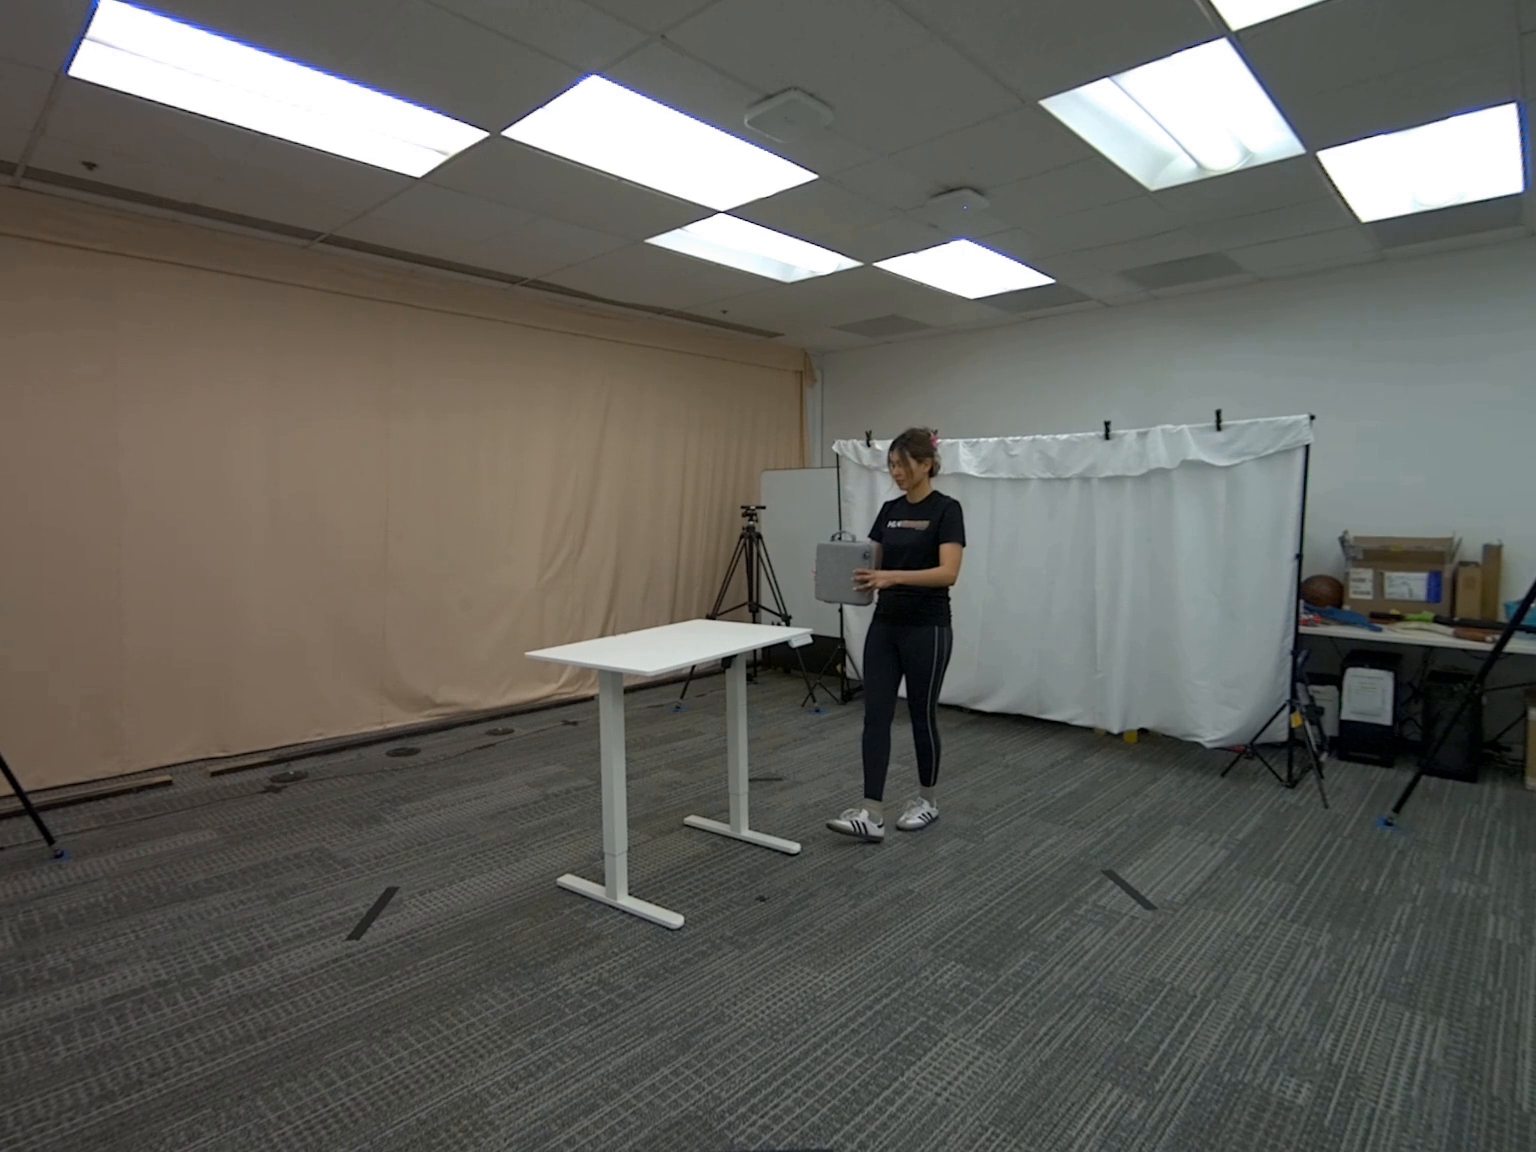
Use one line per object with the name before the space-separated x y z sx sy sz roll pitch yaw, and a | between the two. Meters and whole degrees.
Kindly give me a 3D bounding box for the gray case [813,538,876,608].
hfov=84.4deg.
gray case | 0.309 -0.019 3.402 0.101 0.260 0.265 1 2 -36
